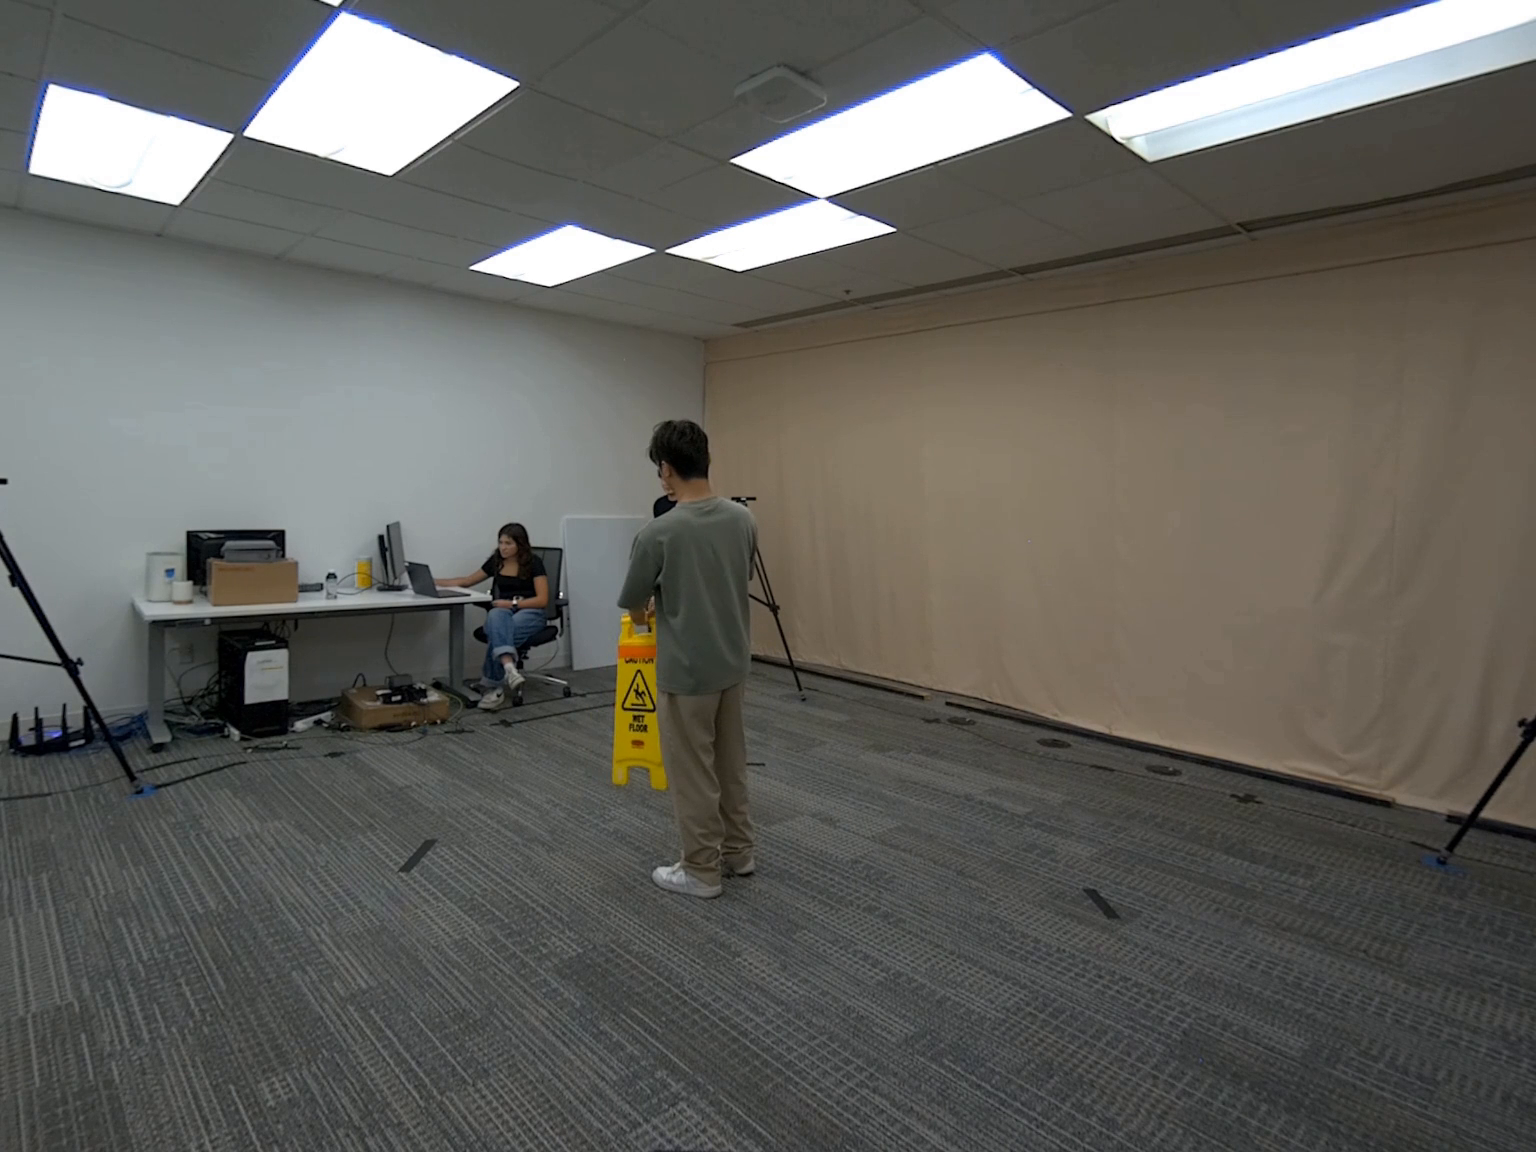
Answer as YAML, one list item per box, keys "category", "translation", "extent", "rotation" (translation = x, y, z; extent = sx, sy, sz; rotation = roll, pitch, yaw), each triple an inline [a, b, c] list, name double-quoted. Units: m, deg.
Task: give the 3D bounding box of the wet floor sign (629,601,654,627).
- category: "wet floor sign"
  translation: [-0.473, 0.472, 3.304]
  extent: [0.288, 0.646, 0.284]
  rotation: [-4, 1, 34]
